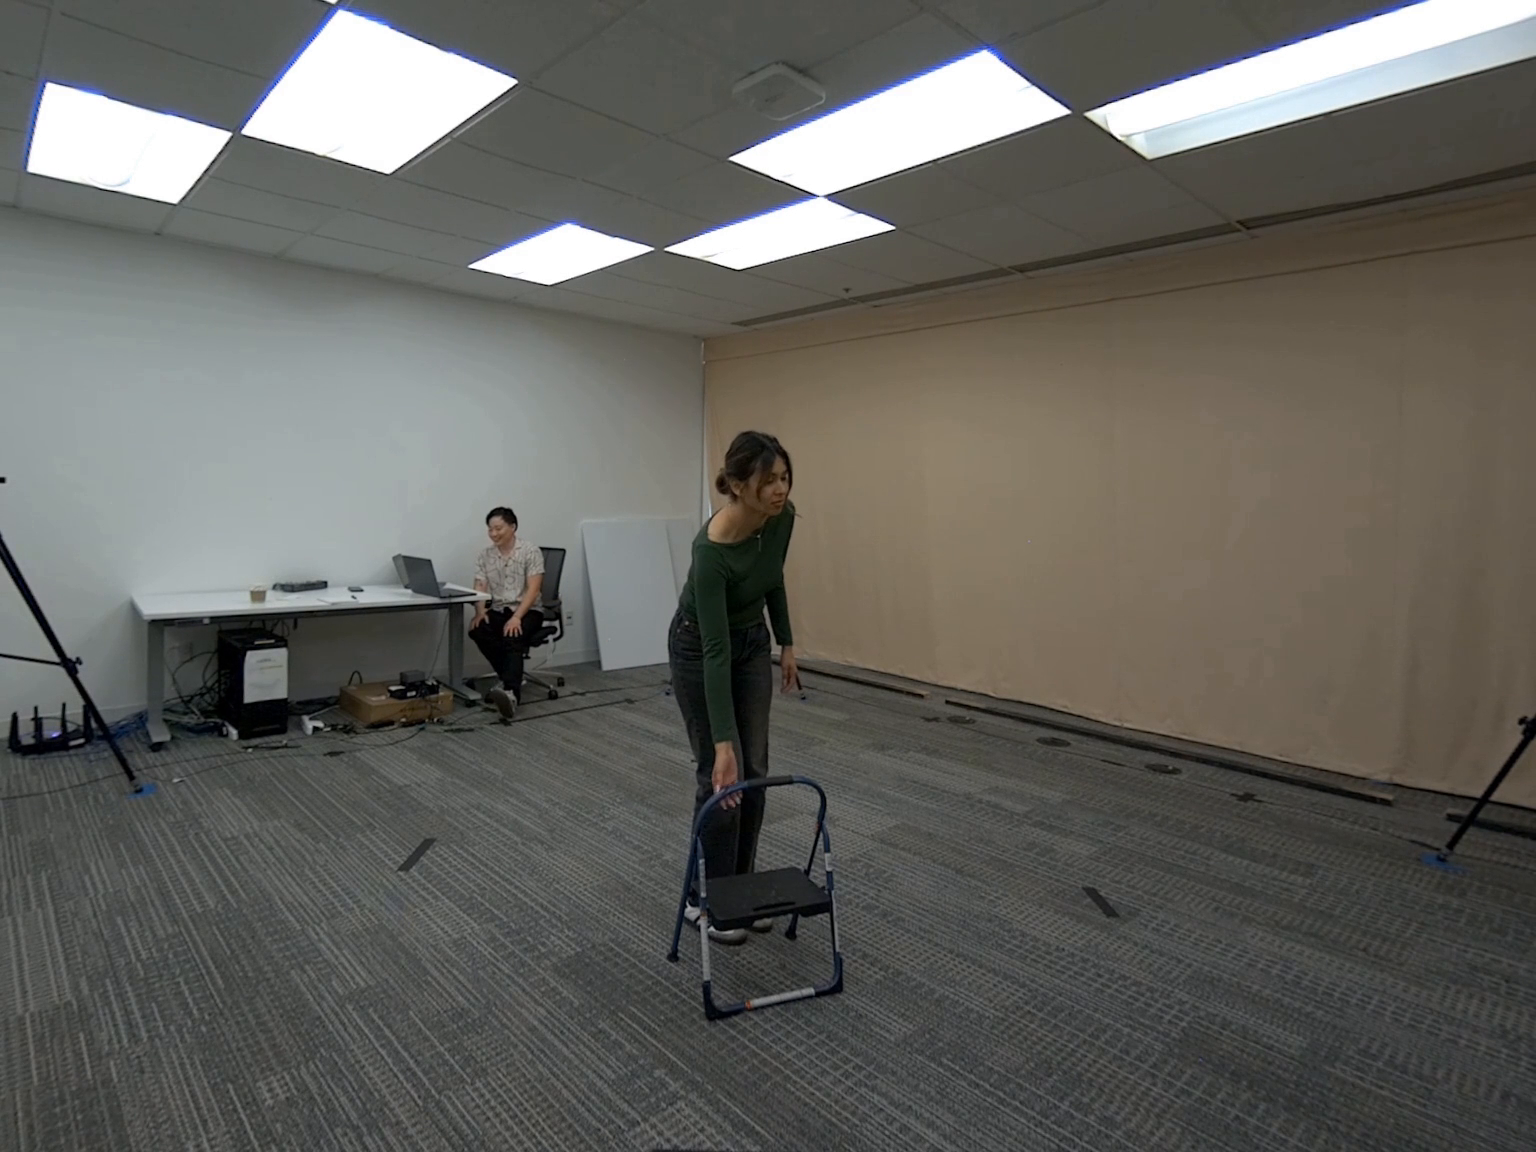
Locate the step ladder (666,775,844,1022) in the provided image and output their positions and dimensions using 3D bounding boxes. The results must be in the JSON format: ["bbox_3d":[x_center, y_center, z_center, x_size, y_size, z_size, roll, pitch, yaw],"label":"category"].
[{"bbox_3d":[-0.037,0.864,2.440,0.423,0.605,0.356,0,4,-24],"label":"step ladder"}]
